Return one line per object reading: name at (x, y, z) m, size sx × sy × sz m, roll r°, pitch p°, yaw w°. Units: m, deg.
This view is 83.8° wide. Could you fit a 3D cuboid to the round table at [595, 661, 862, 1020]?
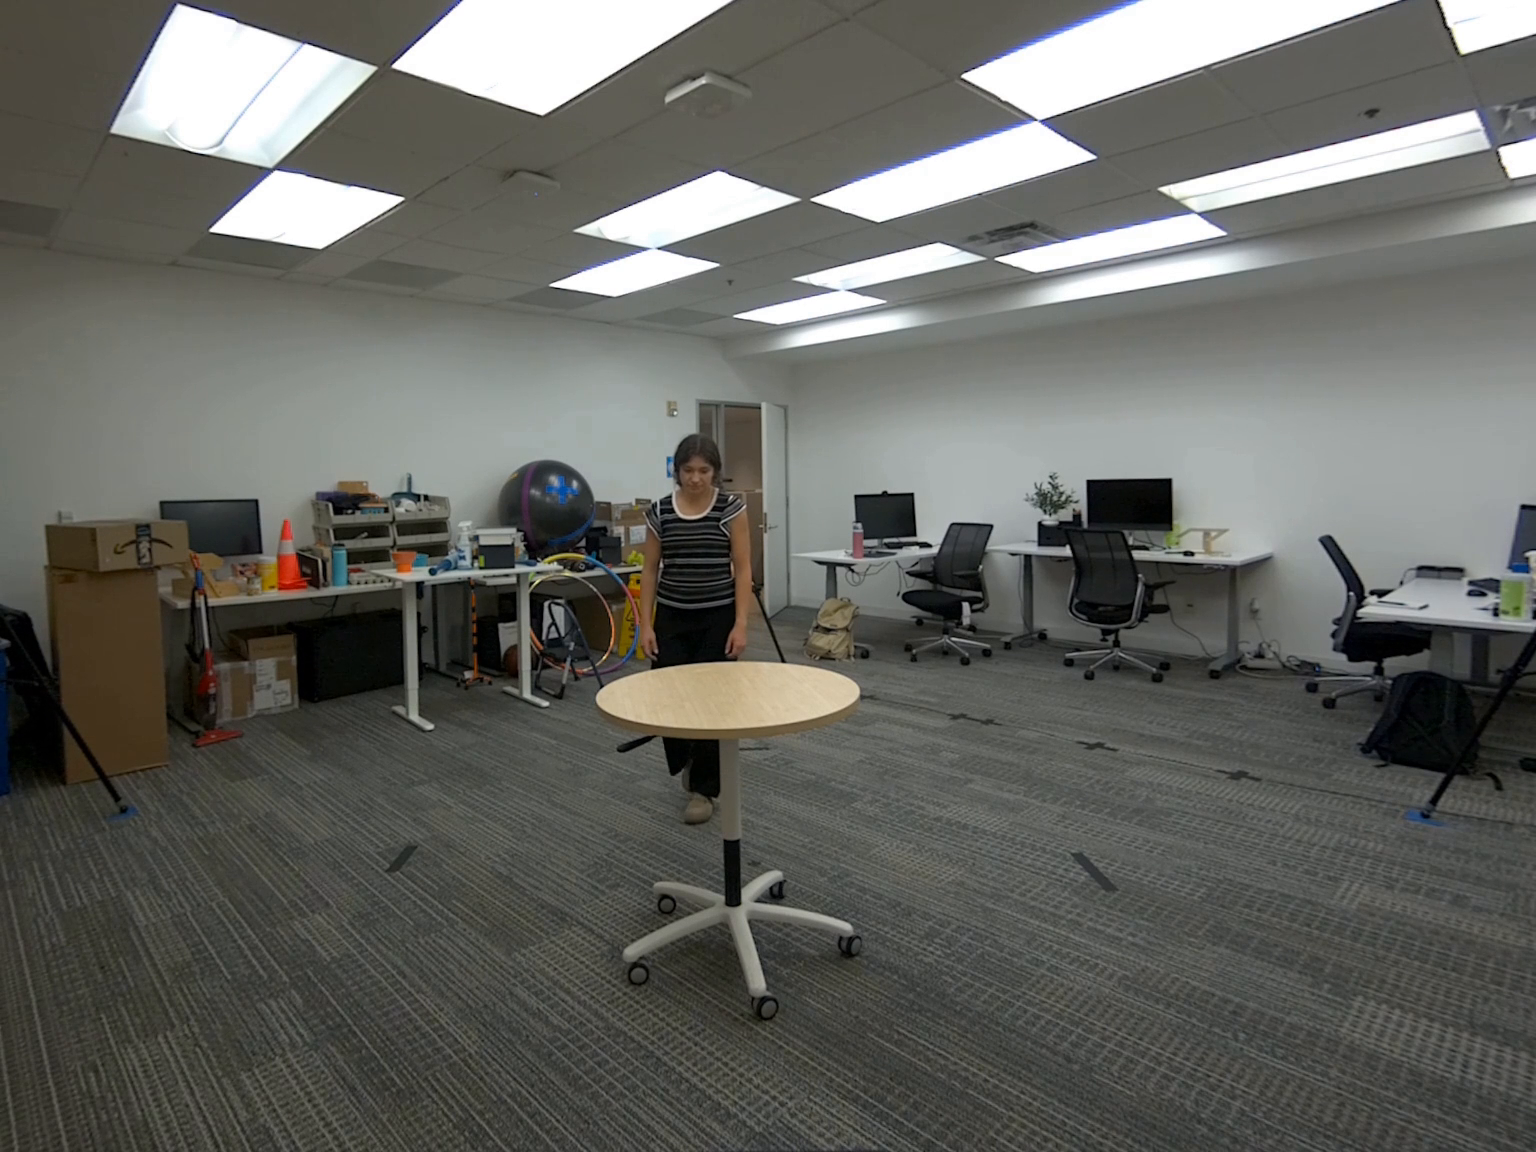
round table at (-0.119, 0.724, 2.522) m, size 0.784 × 0.783 × 0.789 m, roll -1°, pitch 5°, yaw -2°
